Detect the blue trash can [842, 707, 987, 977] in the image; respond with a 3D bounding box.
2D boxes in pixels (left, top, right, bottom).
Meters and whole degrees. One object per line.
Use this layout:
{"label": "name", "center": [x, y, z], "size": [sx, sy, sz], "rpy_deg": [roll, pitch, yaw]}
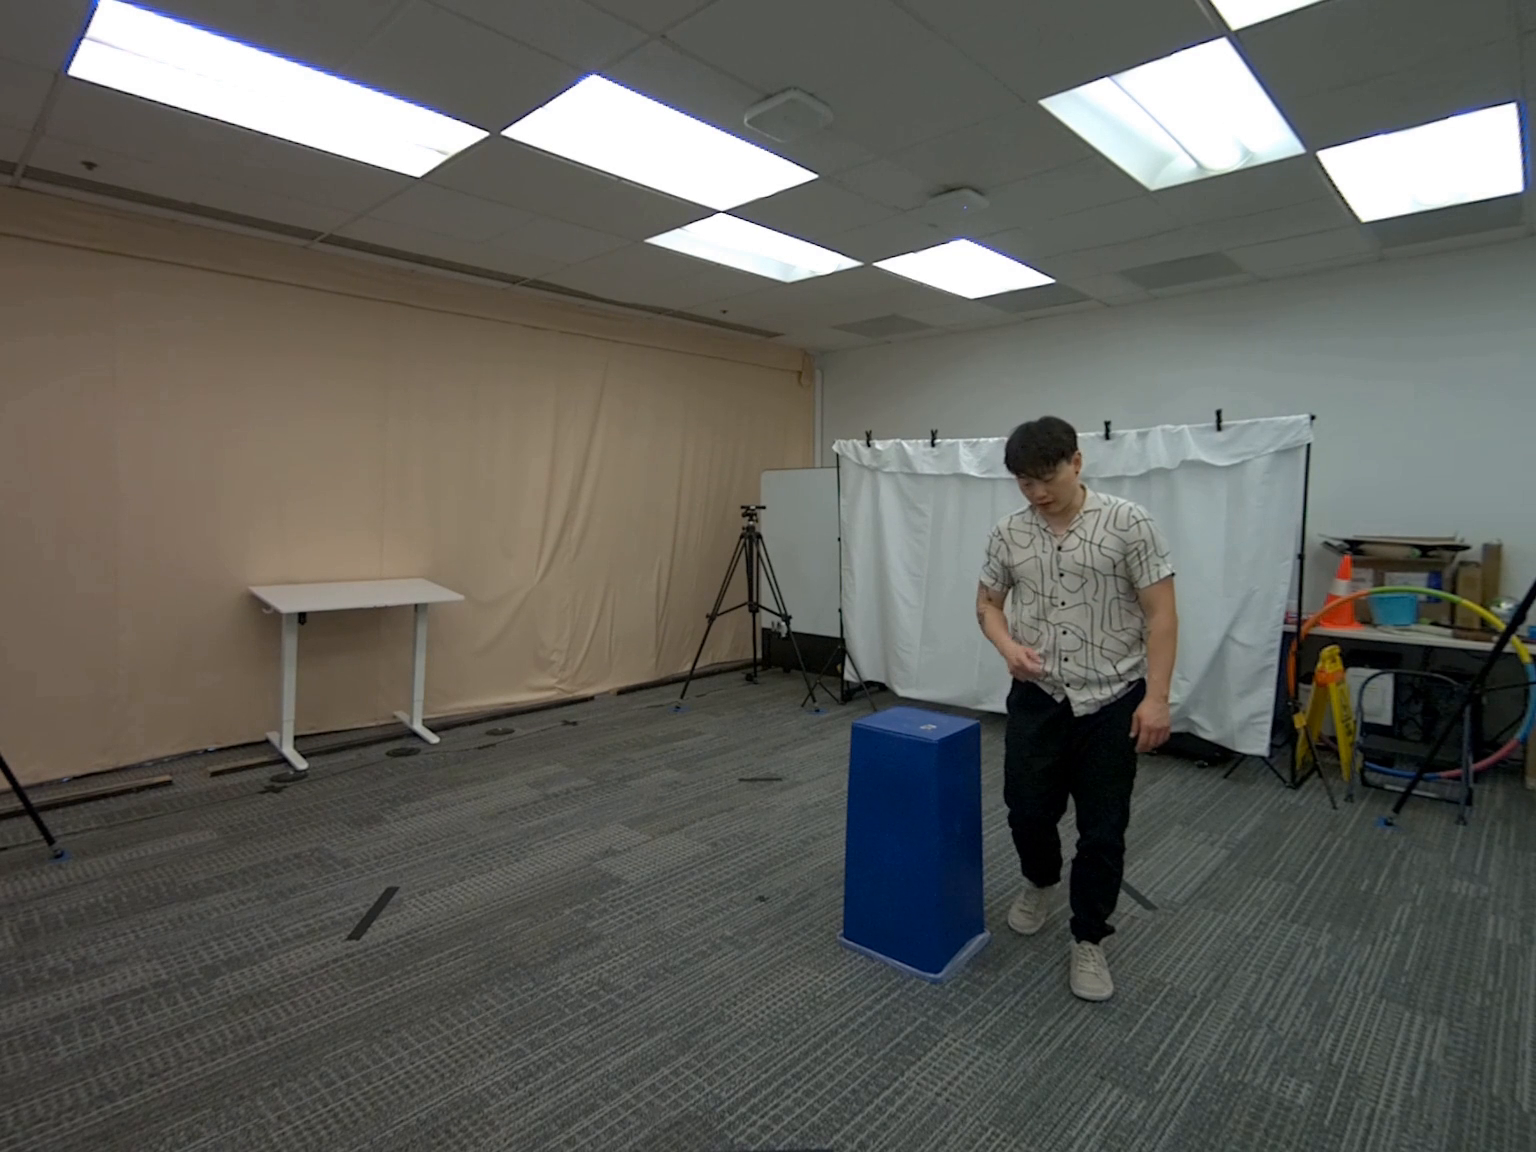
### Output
{"label": "blue trash can", "center": [0.473, 0.816, 2.669], "size": [0.386, 0.711, 0.367], "rpy_deg": [4, 6, 41]}
